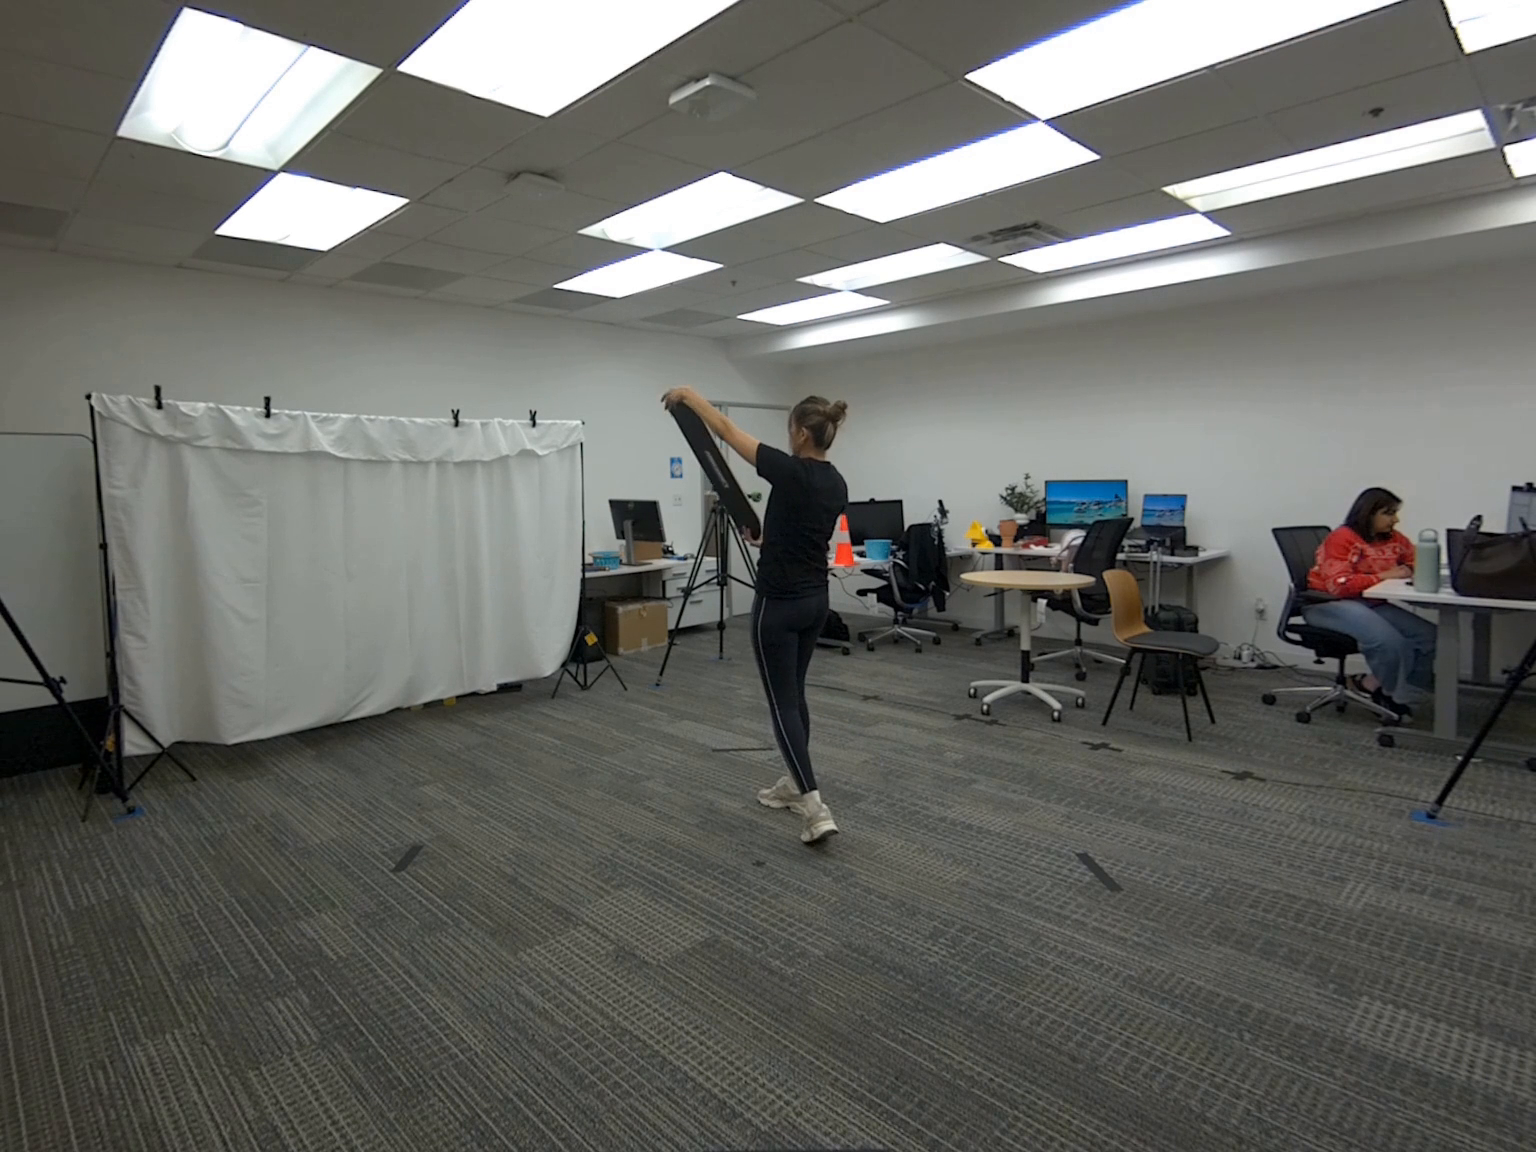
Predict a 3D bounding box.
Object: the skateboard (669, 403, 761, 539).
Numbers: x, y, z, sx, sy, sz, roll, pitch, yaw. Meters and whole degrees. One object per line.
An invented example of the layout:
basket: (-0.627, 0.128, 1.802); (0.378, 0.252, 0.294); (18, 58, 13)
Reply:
skateboard: (-0.202, -0.491, 3.753); (0.199, 0.761, 0.110); (7, 45, 49)
